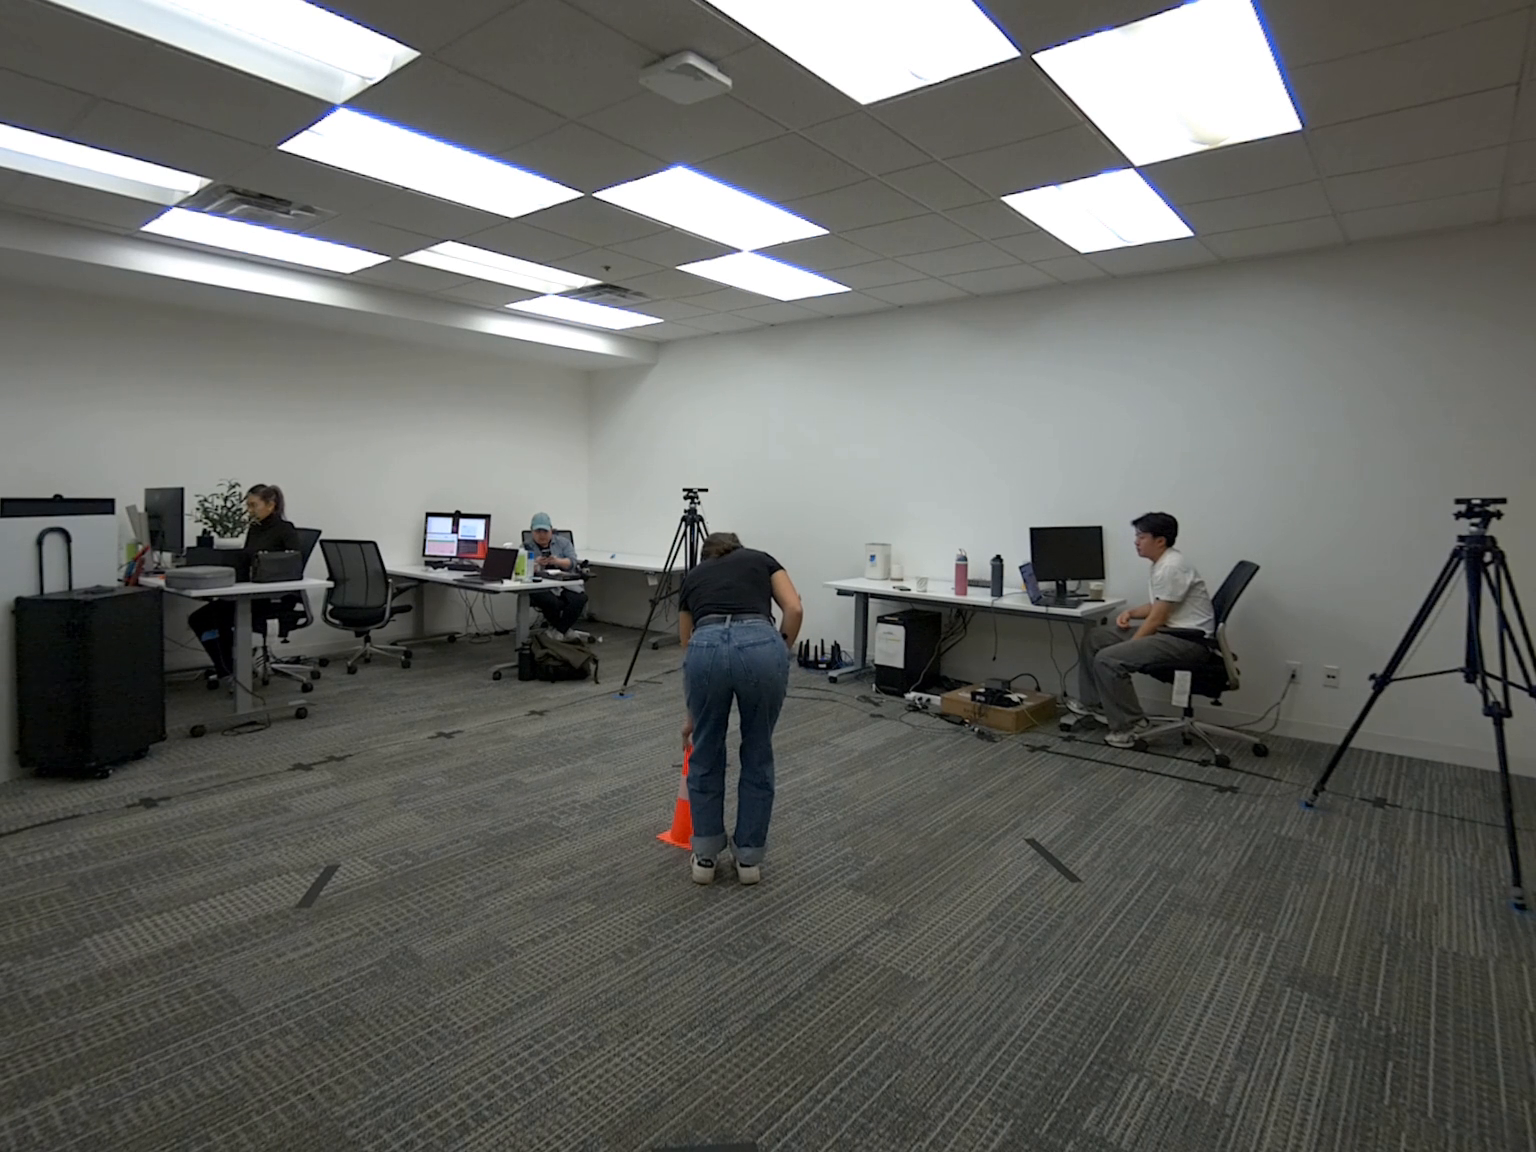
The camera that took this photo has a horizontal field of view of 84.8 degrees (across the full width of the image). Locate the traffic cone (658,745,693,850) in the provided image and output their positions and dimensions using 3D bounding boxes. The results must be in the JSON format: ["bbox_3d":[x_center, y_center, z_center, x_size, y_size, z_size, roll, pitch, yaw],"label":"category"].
[{"bbox_3d":[-0.313,0.849,3.393,0.210,0.382,0.199,3,5,37],"label":"traffic cone"}]
